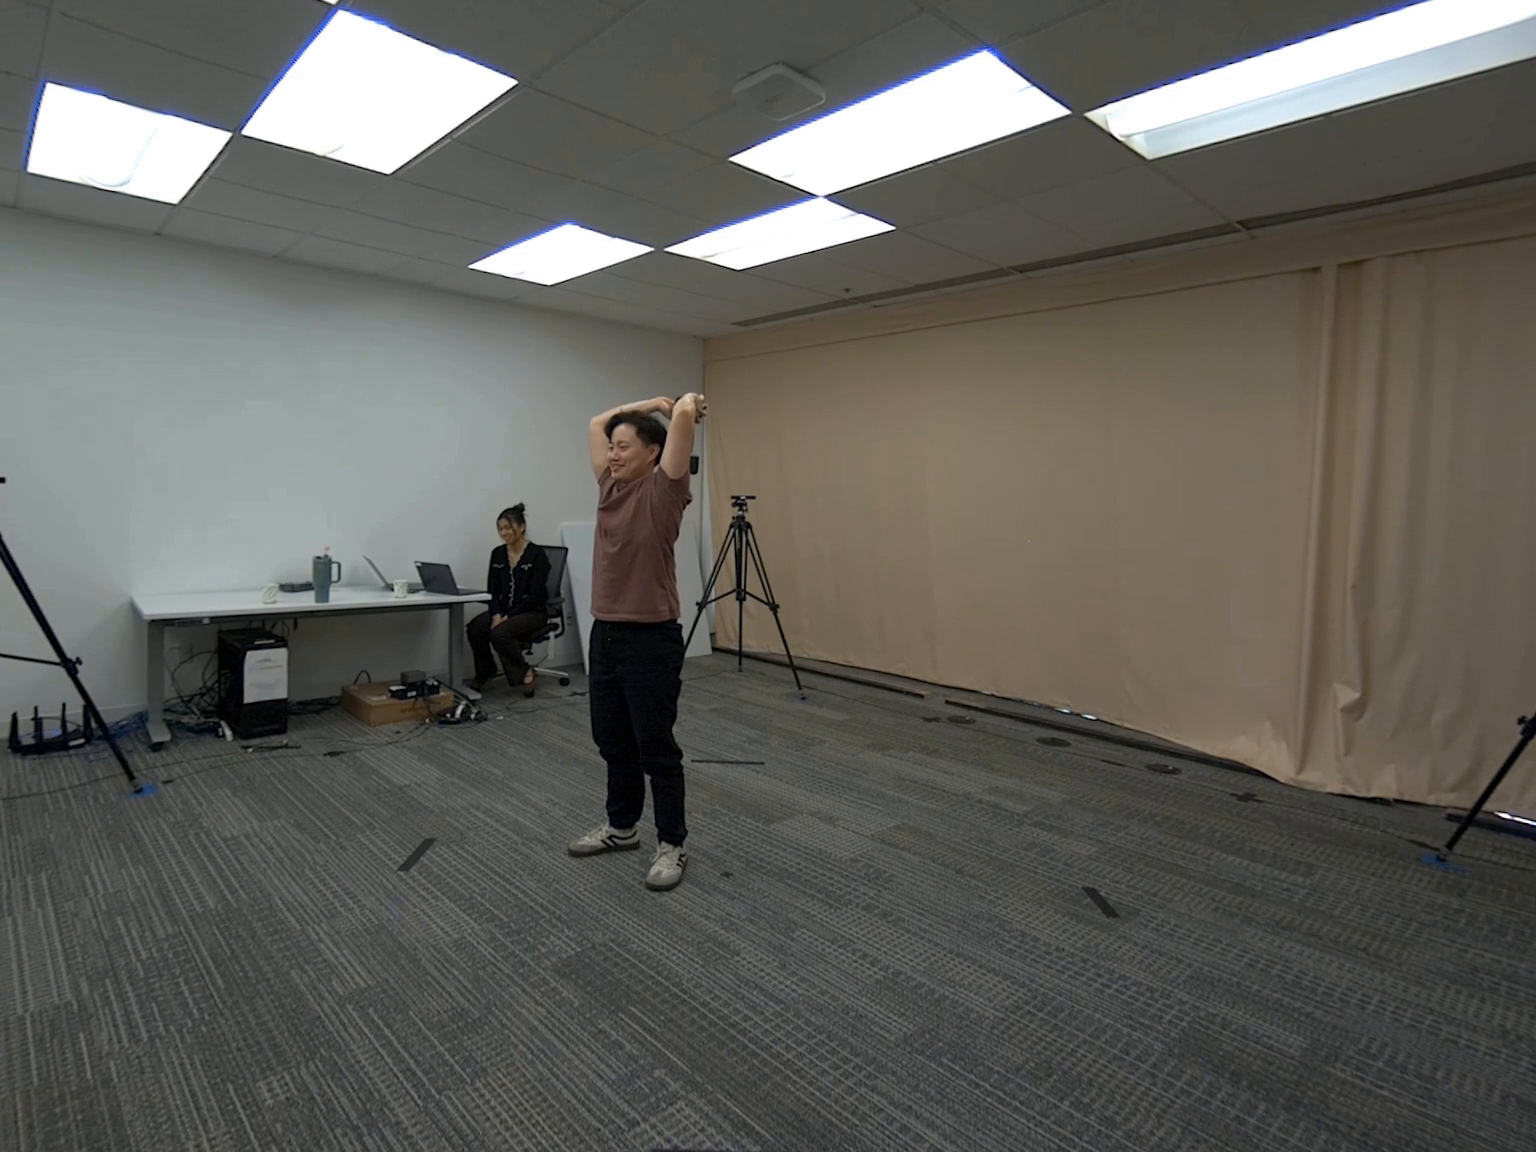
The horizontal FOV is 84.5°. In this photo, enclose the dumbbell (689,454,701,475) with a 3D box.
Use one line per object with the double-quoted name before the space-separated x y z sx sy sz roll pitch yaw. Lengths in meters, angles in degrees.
"dumbbell" -0.329 -0.543 3.243 0.120 0.292 0.111 -2 9 -36
